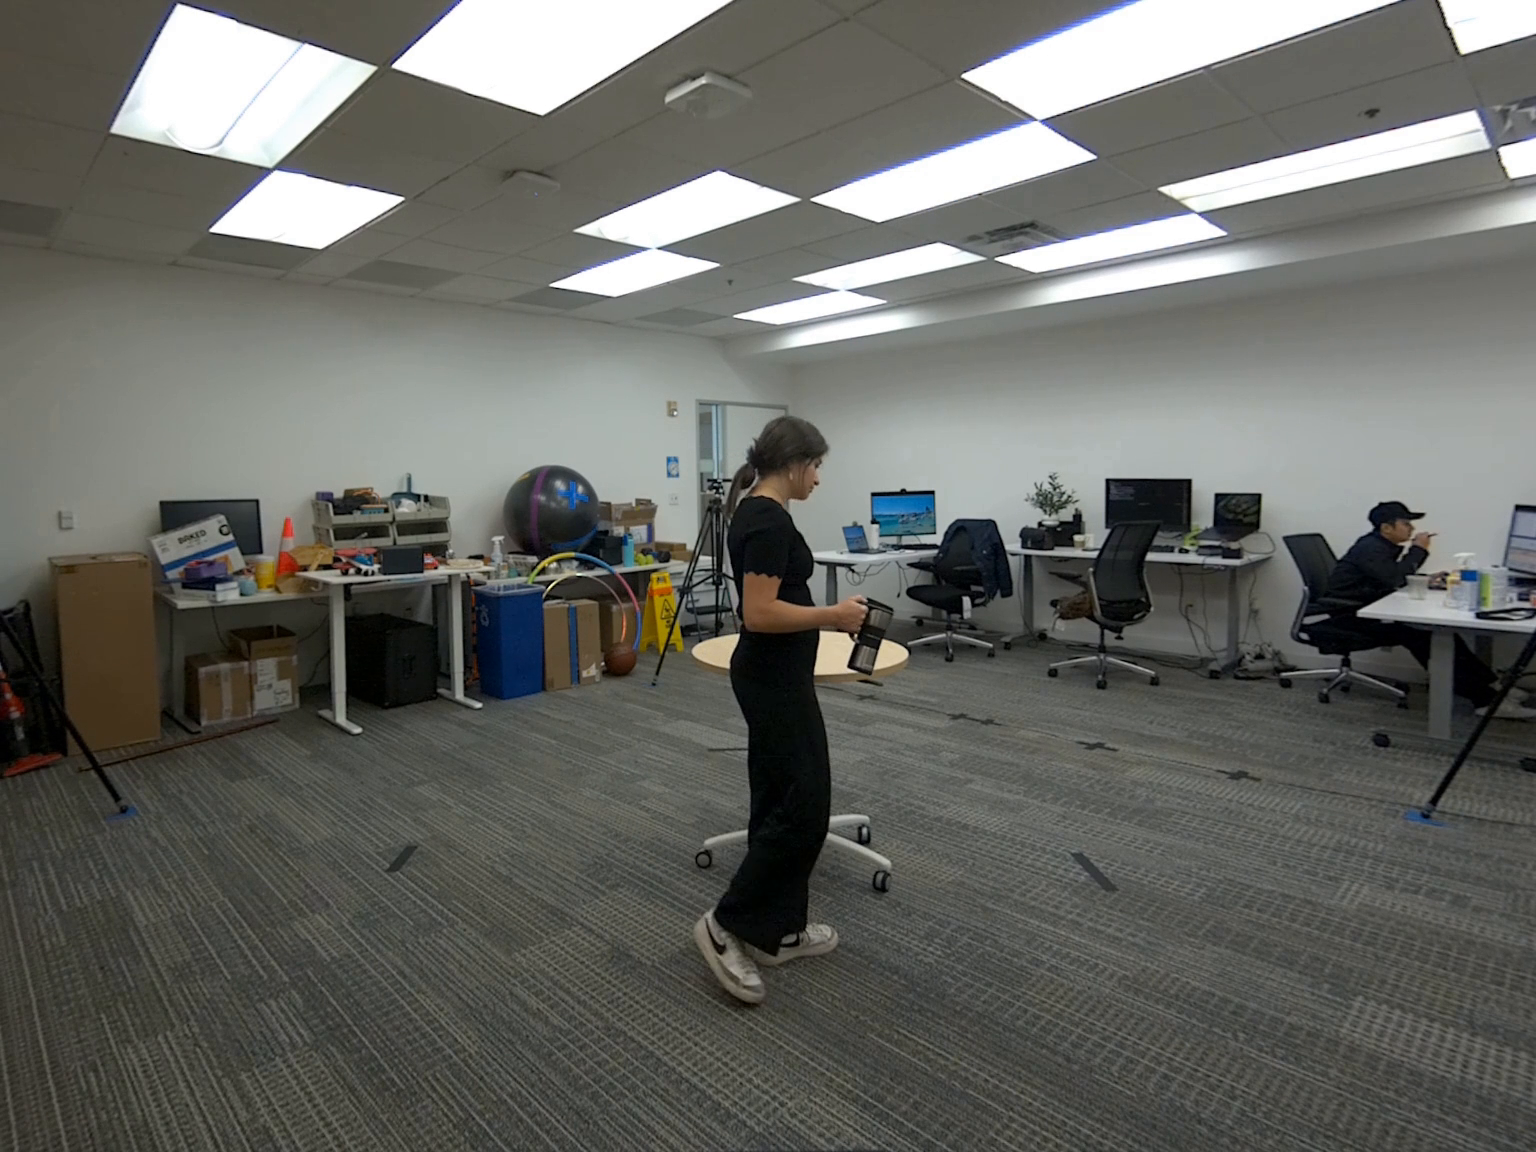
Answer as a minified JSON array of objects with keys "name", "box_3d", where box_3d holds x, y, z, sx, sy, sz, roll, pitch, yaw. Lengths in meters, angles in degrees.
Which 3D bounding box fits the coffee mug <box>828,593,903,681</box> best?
[{"name":"coffee mug","box_3d":[0.271,0.168,2.393,0.126,0.203,0.085,20,2,39]}]
